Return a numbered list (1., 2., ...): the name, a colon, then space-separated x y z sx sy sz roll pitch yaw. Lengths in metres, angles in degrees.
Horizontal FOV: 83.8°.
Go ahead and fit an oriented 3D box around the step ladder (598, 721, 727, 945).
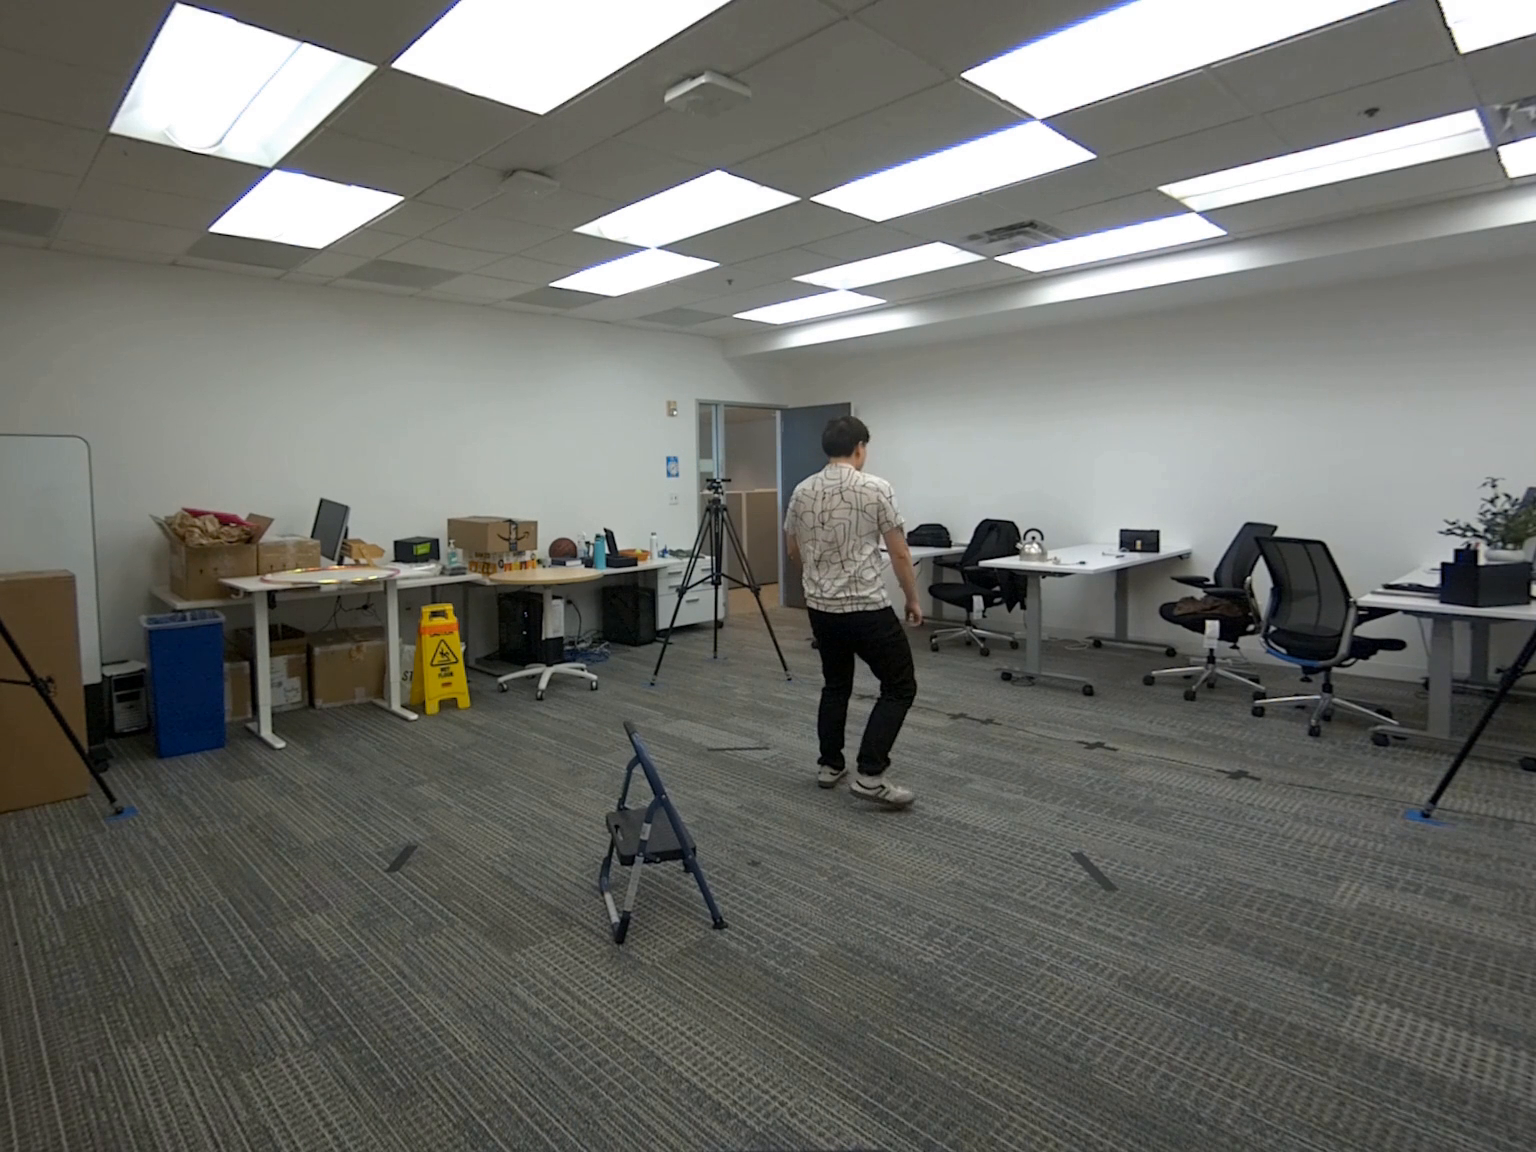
1. step ladder: -0.365 0.783 2.796 0.344 0.604 0.439 -3 5 -18
